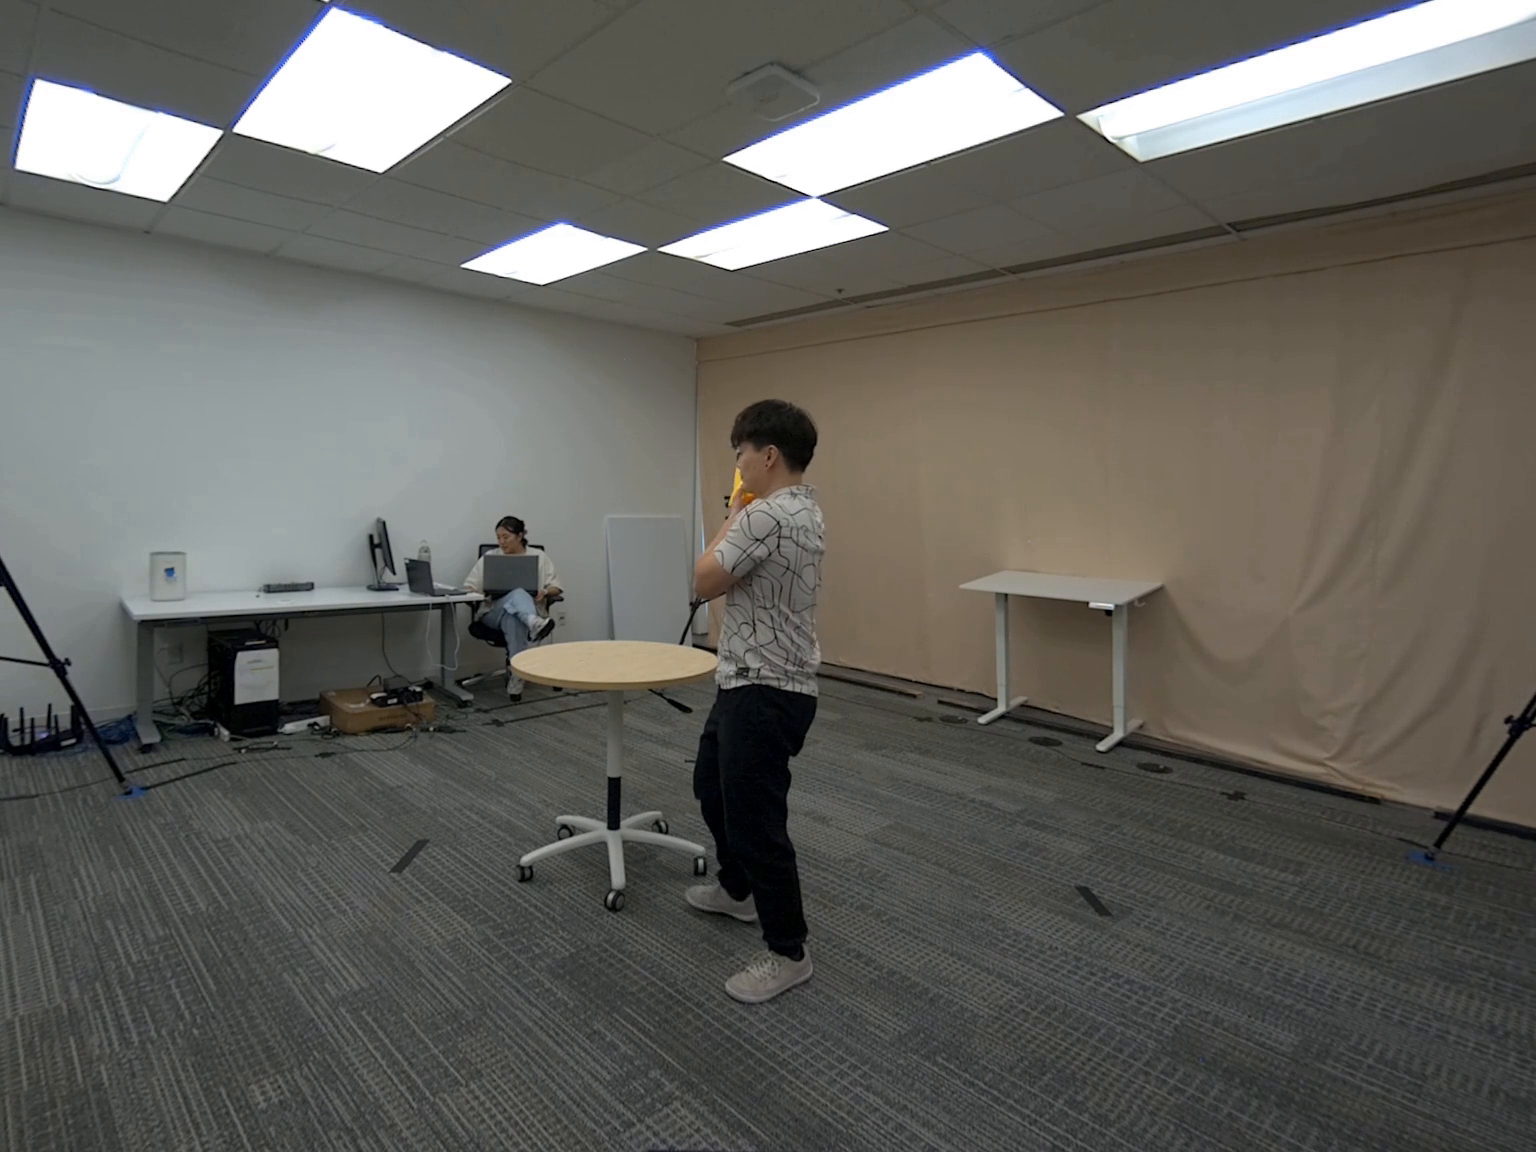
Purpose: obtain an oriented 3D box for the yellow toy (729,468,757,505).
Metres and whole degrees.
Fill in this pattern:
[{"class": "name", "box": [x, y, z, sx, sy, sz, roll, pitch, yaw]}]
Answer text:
[{"class": "yellow toy", "box": [-0.053, -0.340, 2.601, 0.195, 0.233, 0.200, -19, -10, 26]}]
